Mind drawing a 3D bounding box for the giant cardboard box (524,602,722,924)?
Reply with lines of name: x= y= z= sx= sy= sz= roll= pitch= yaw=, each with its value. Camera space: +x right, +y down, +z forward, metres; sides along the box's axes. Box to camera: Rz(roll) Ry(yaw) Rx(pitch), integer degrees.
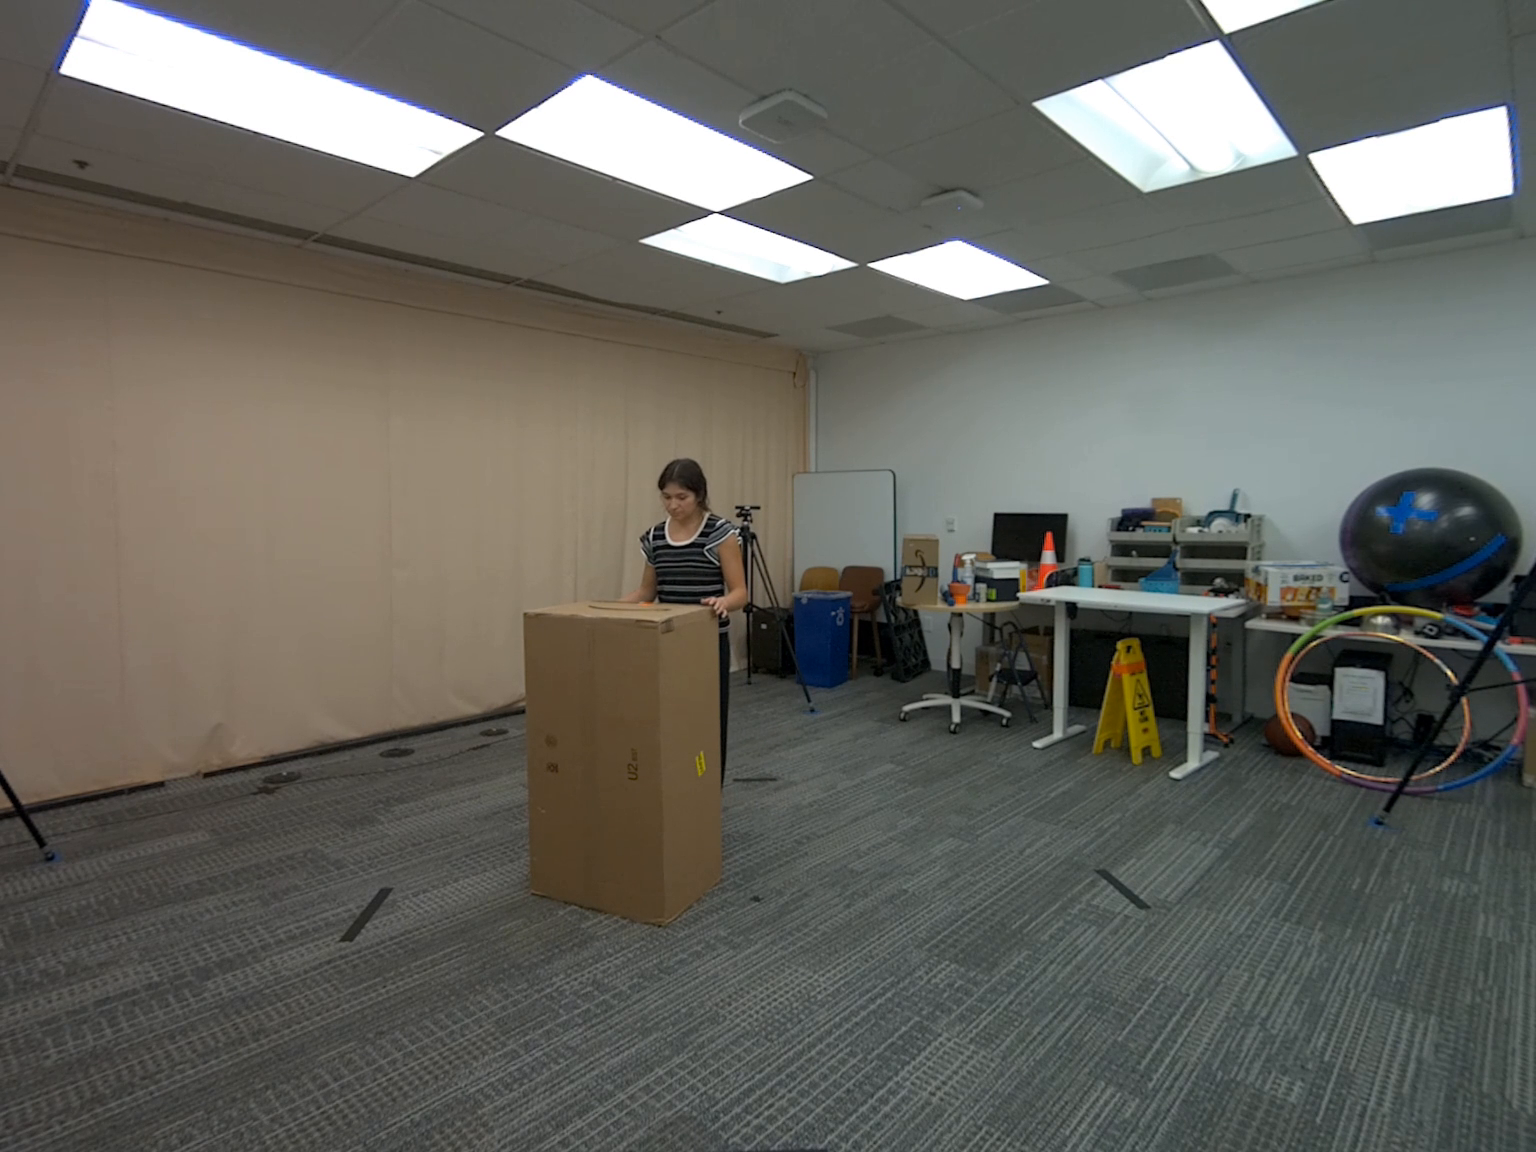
giant cardboard box: x=-0.527 y=0.635 z=3.077 sx=0.593 sy=1.024 sz=0.416 roll=0 pitch=3 yaw=27
